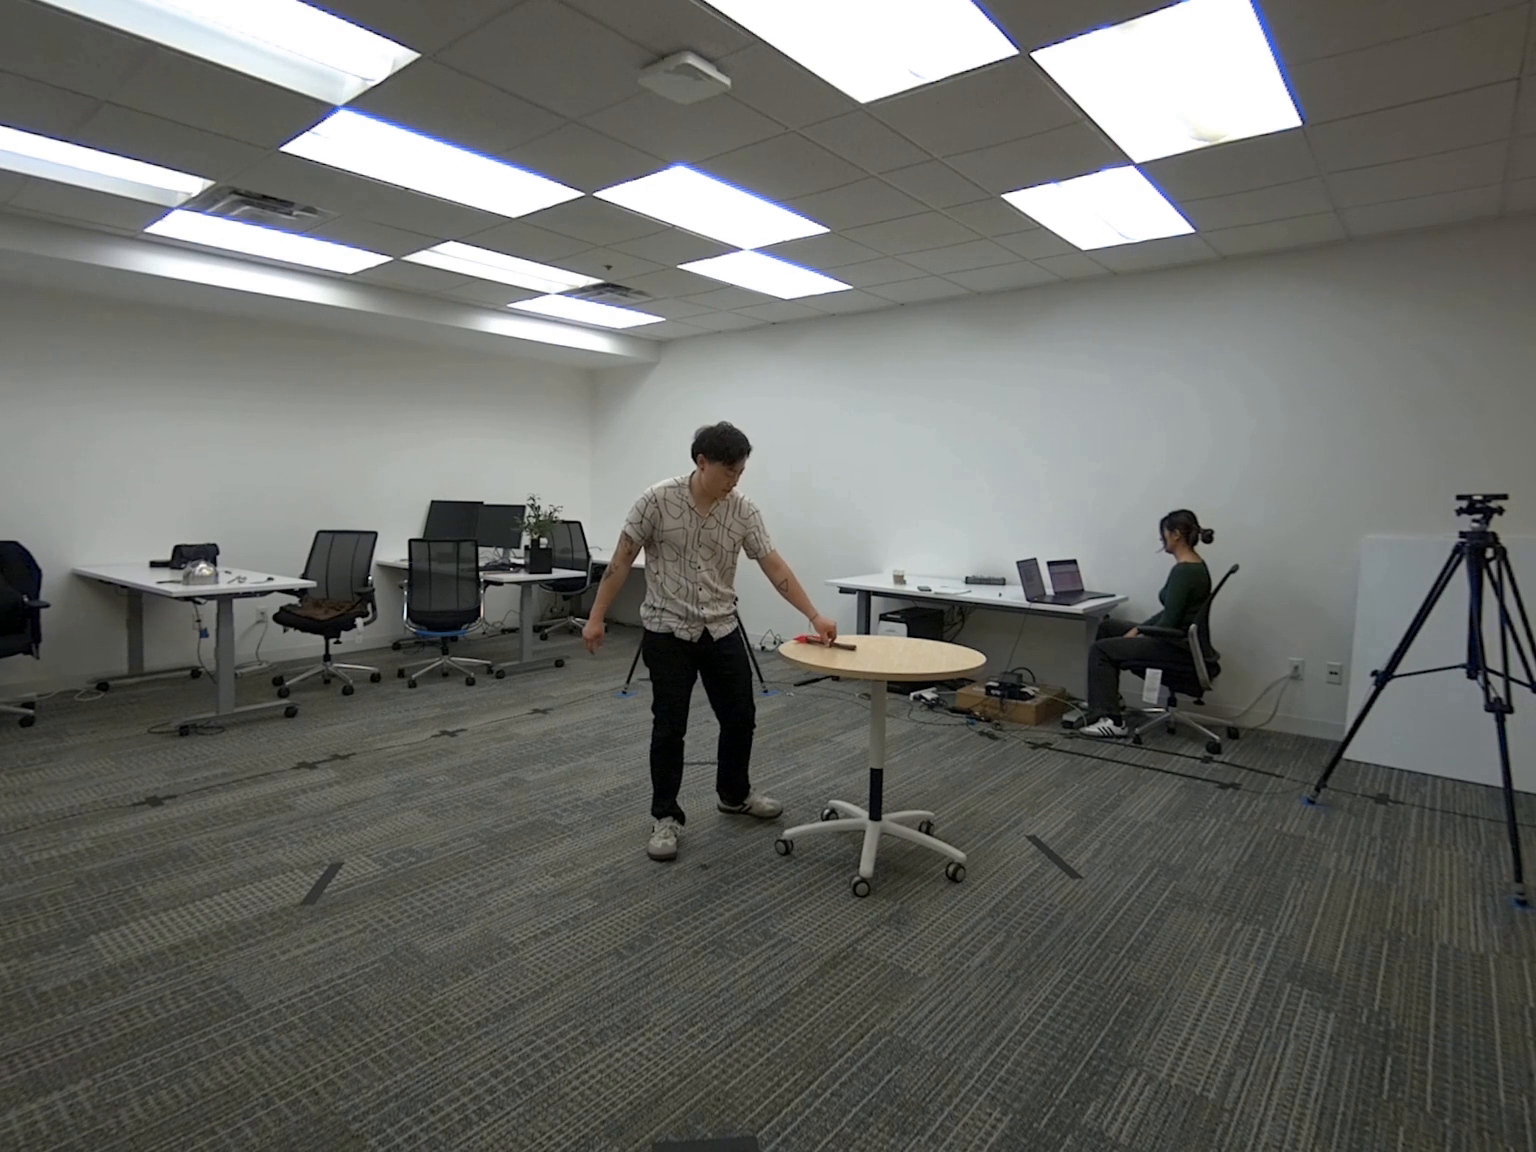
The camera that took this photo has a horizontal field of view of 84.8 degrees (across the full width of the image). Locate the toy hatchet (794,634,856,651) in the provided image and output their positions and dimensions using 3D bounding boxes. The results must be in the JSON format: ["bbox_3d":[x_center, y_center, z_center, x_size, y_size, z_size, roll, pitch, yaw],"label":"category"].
[{"bbox_3d":[0.232,0.260,3.342,0.279,0.029,0.127,6,6,33],"label":"toy hatchet"}]
